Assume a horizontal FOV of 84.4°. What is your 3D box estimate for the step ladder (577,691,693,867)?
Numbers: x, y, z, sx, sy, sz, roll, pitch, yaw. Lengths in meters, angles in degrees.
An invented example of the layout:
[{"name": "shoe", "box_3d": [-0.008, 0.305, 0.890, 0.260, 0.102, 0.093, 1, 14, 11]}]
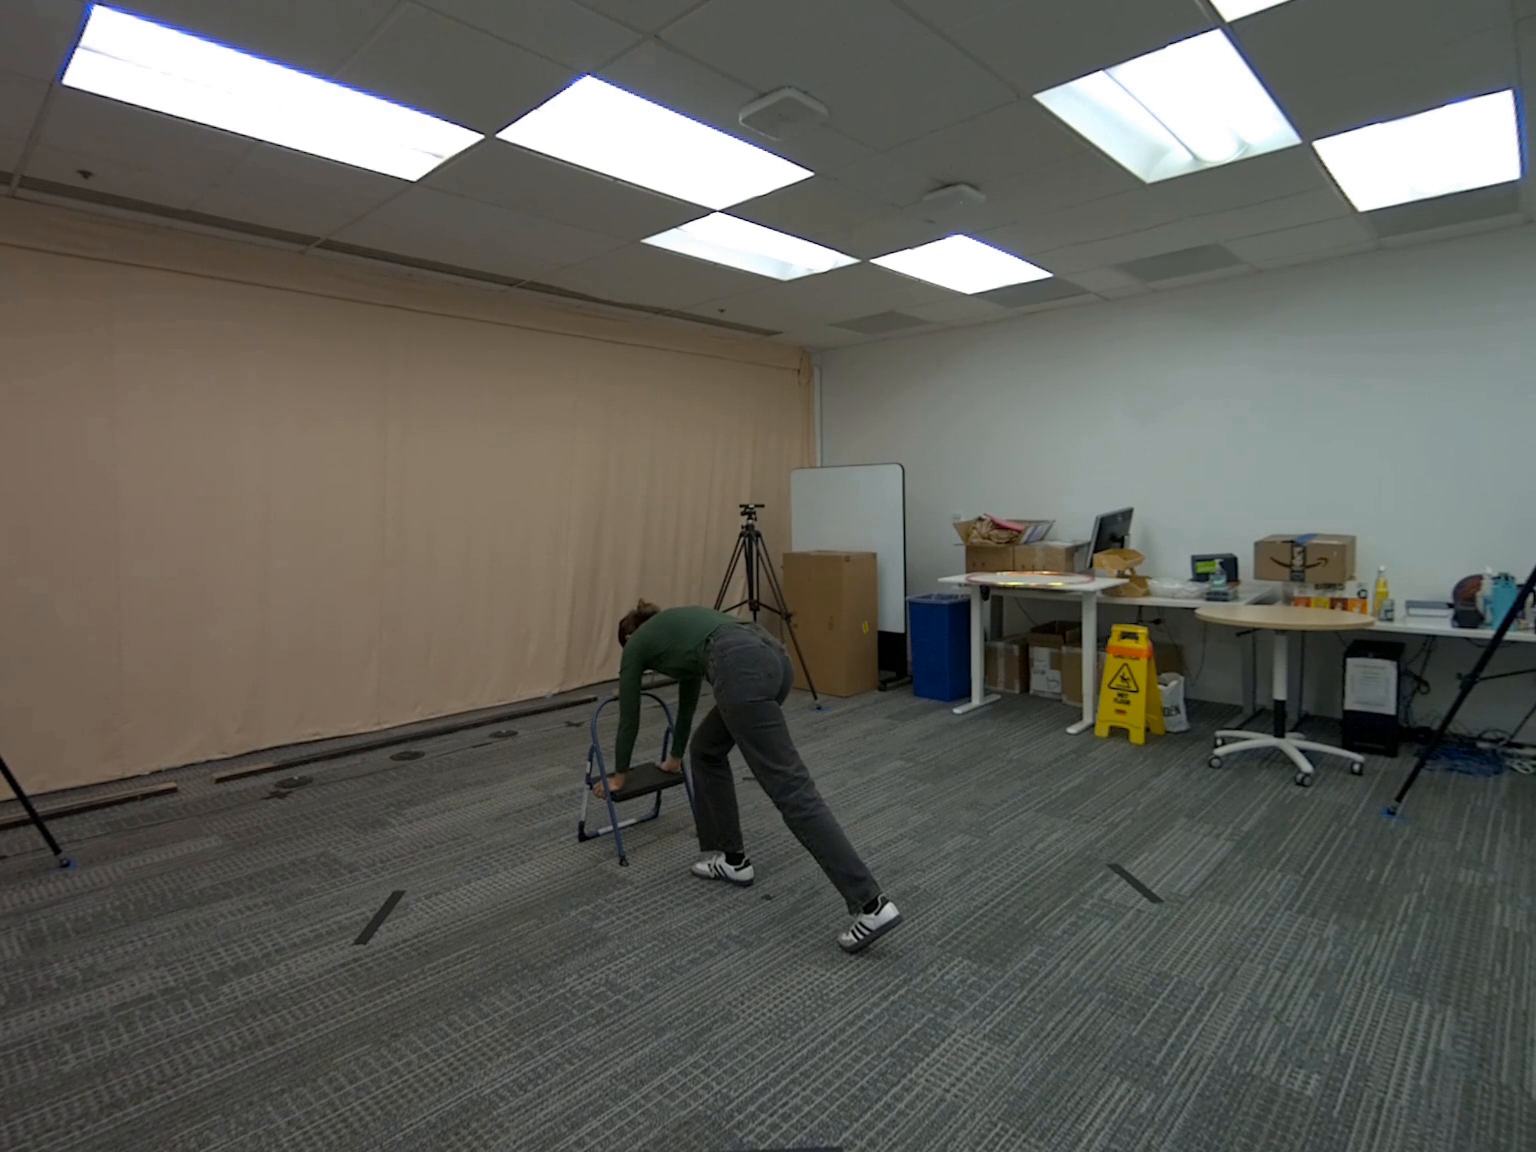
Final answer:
[{"name": "step ladder", "box_3d": [-0.539, 0.806, 3.524, 0.417, 0.605, 0.361, -4, 4, -43]}]
